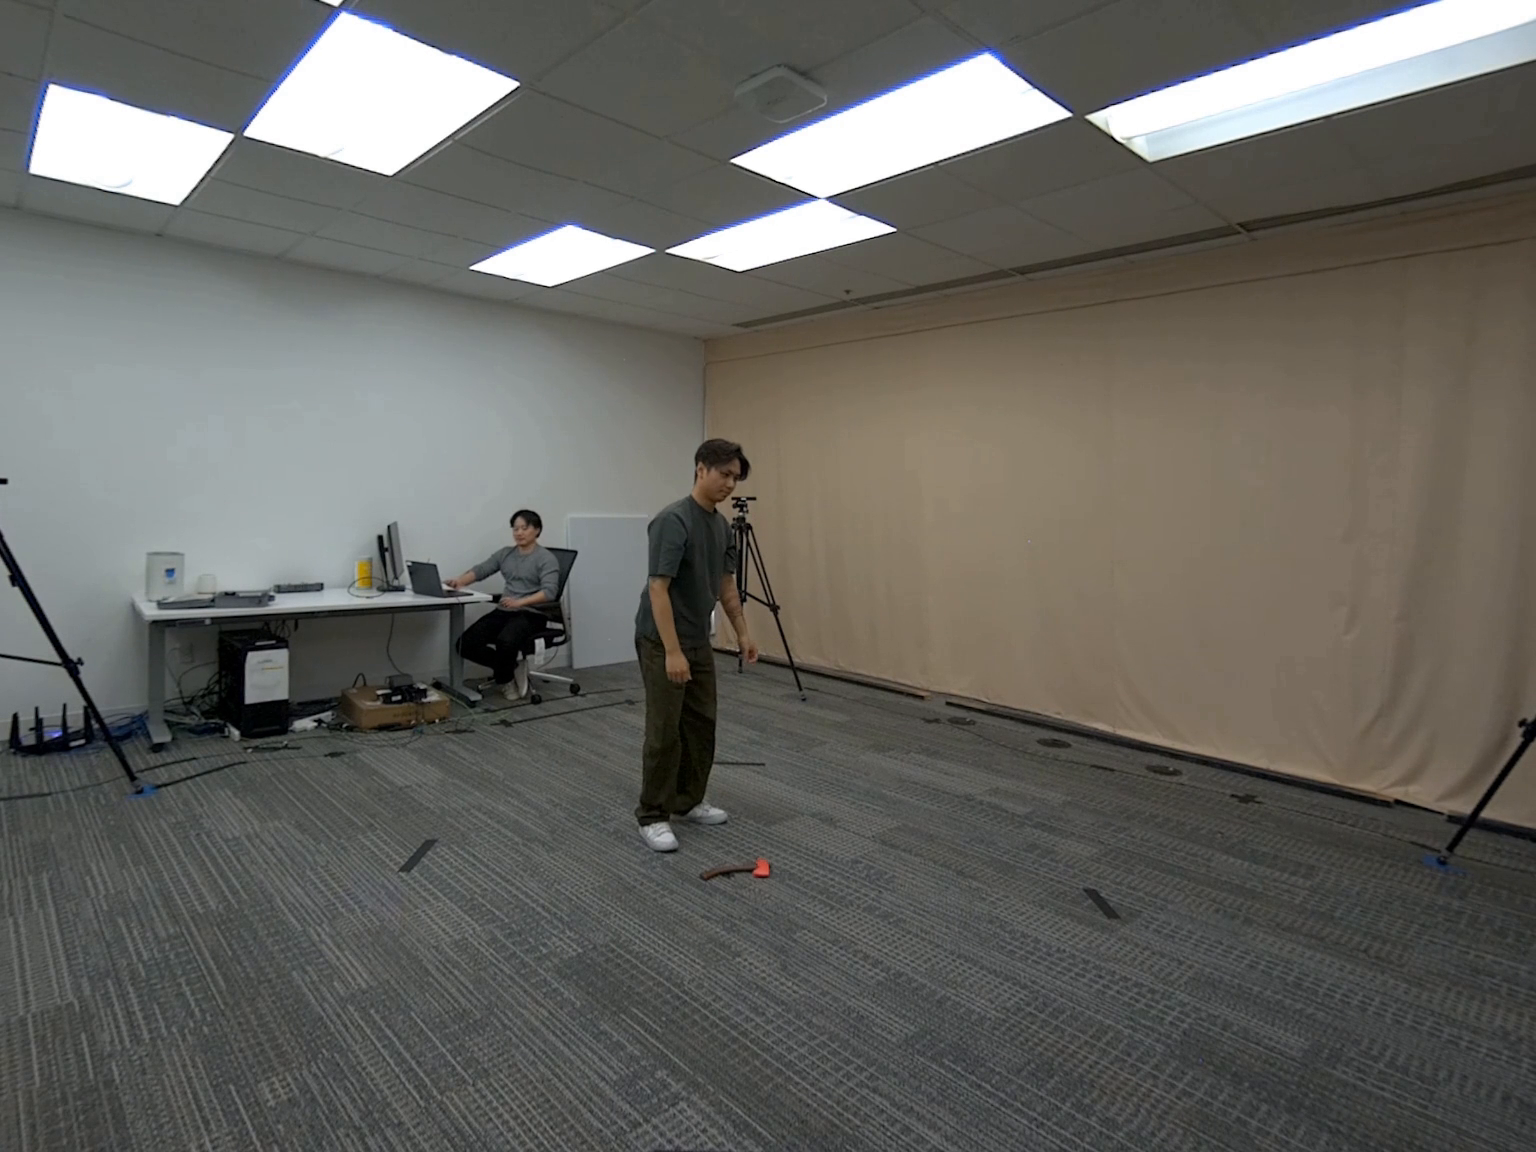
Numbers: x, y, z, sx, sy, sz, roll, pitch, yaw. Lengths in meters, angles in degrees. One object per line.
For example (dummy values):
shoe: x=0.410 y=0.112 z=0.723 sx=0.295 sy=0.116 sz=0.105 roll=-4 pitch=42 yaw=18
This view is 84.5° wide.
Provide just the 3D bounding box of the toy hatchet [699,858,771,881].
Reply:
toy hatchet: x=-0.110 y=1.090 z=3.108 sx=0.265 sy=0.029 sz=0.134 roll=-5 pitch=11 yaw=-33
